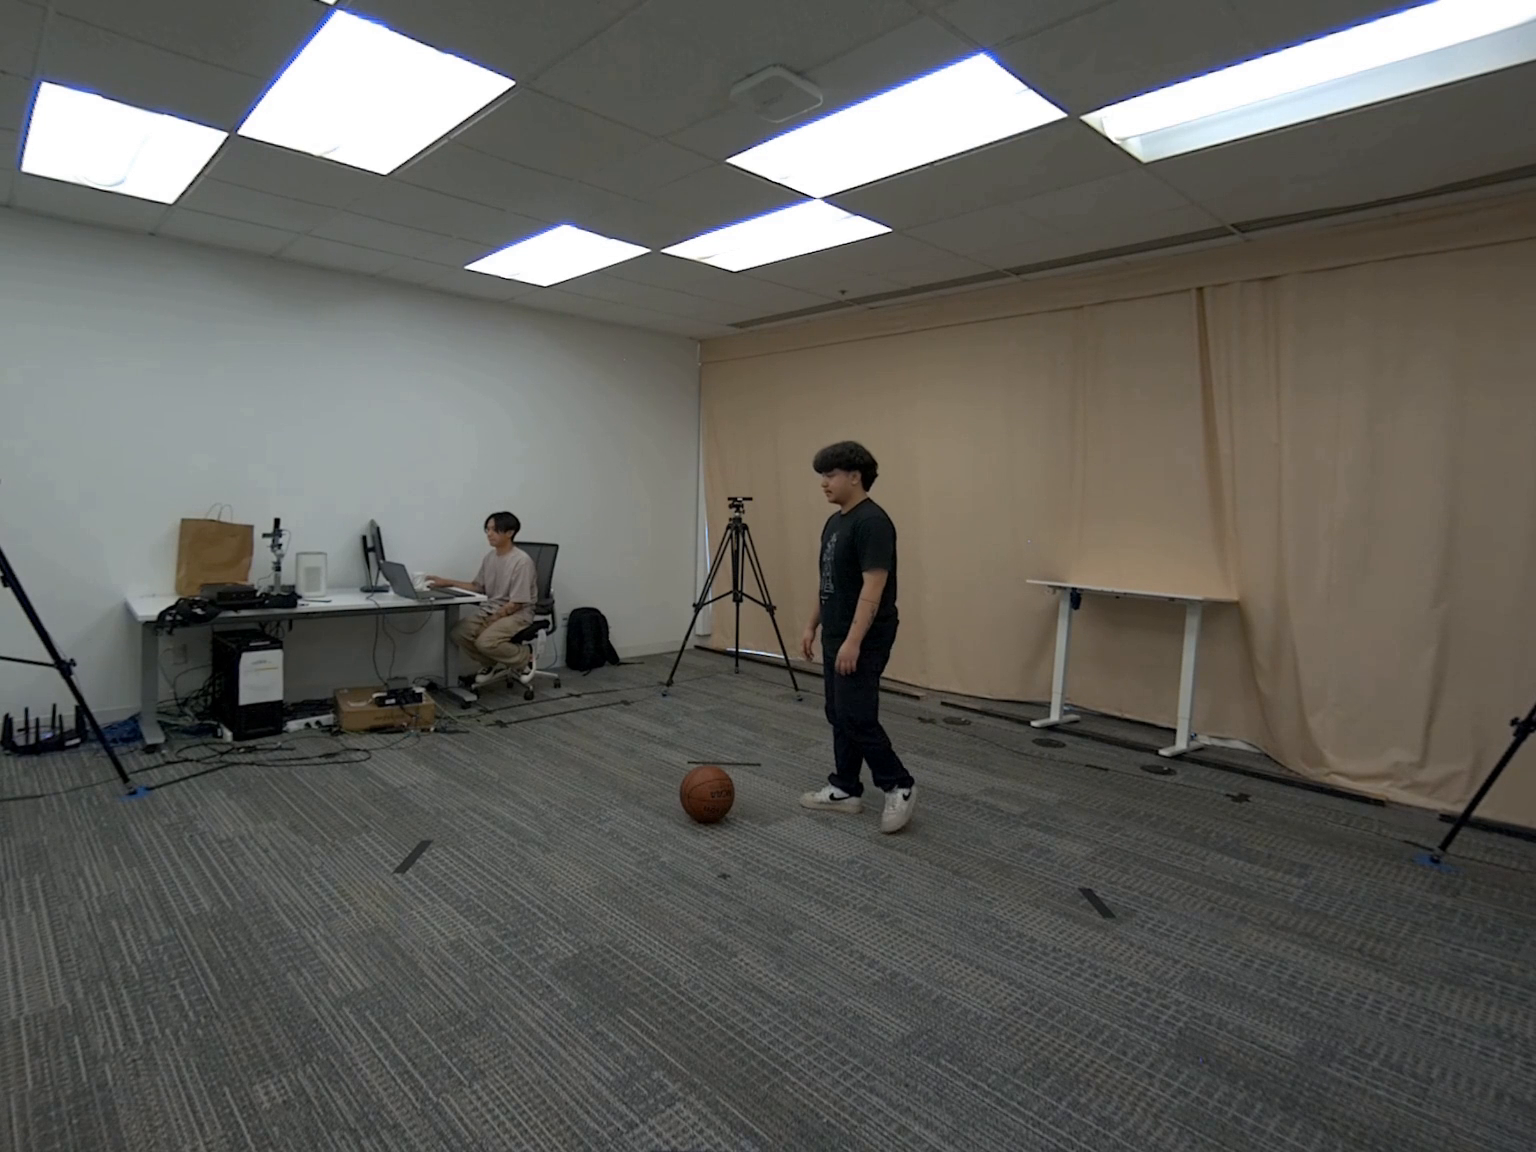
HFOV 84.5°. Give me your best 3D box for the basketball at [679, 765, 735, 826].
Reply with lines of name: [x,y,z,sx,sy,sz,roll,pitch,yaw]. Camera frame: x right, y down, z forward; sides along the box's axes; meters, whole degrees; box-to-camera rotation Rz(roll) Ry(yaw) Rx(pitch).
basketball: [-0.270,0.936,3.634,0.236,0.235,0.237,1,4,-1]
